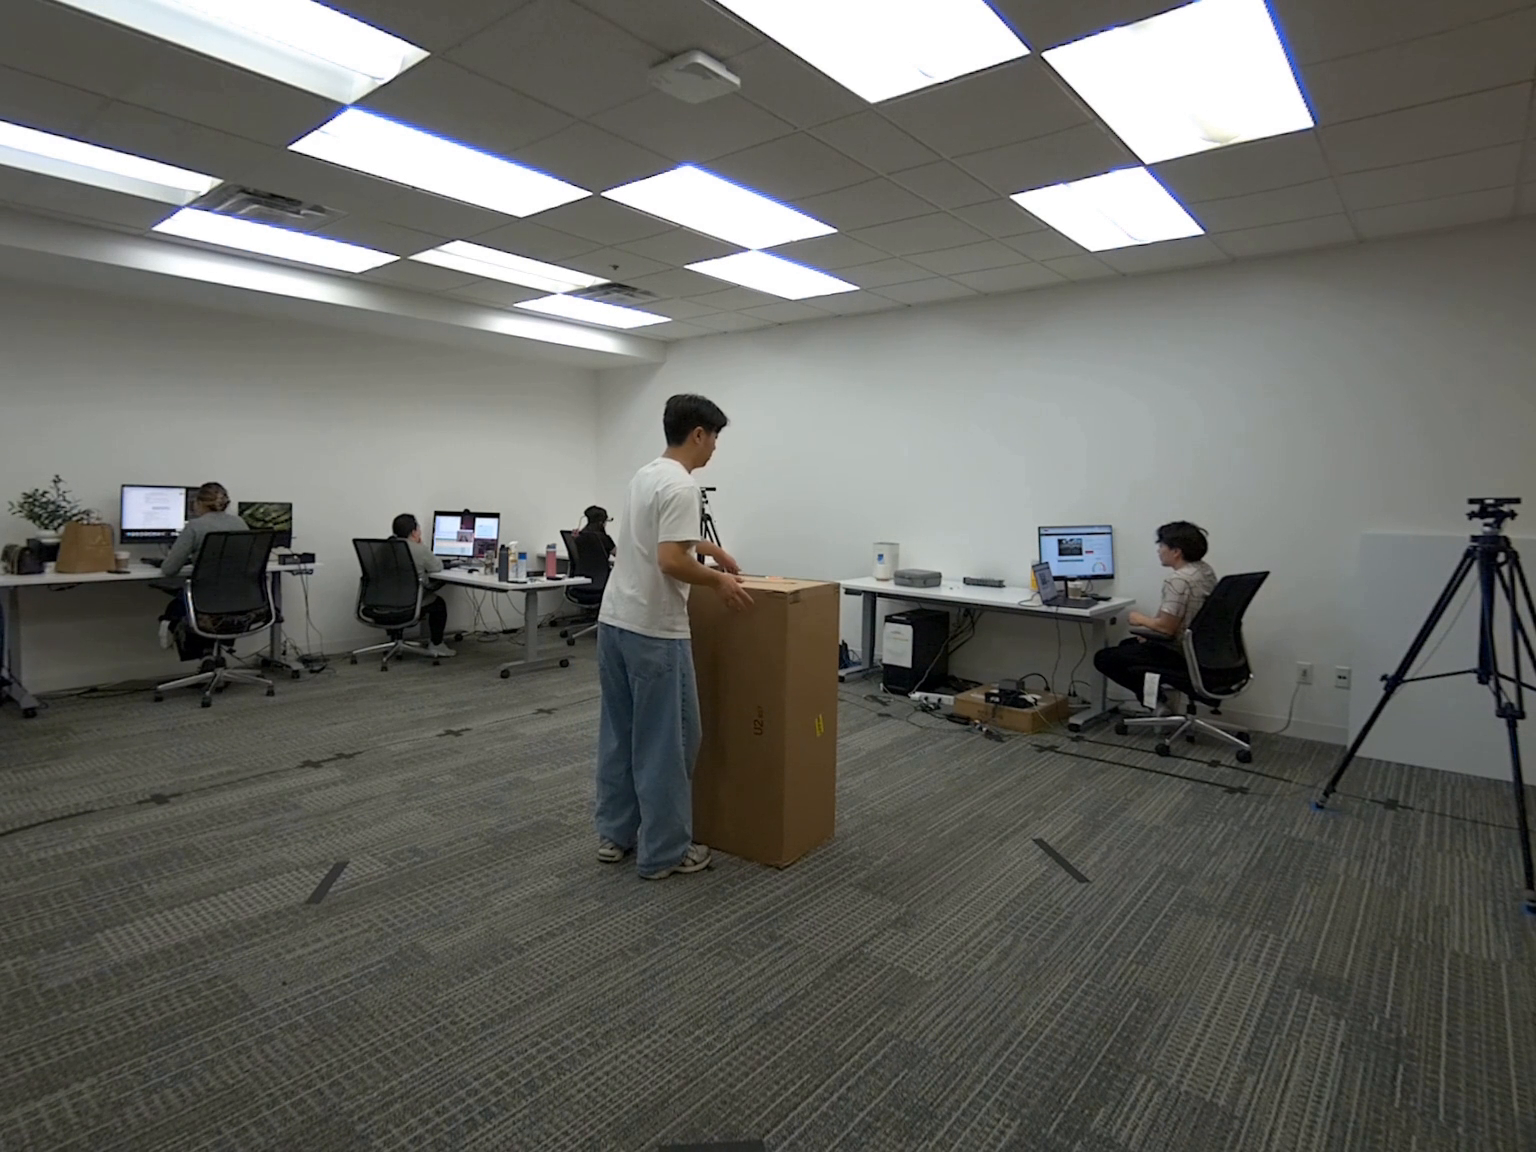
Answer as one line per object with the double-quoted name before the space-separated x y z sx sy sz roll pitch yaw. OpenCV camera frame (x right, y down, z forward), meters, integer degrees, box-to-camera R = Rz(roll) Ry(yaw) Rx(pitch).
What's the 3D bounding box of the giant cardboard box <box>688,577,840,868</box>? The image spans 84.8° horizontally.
"giant cardboard box" -0.075 0.526 3.425 0.595 1.023 0.414 3 4 33
